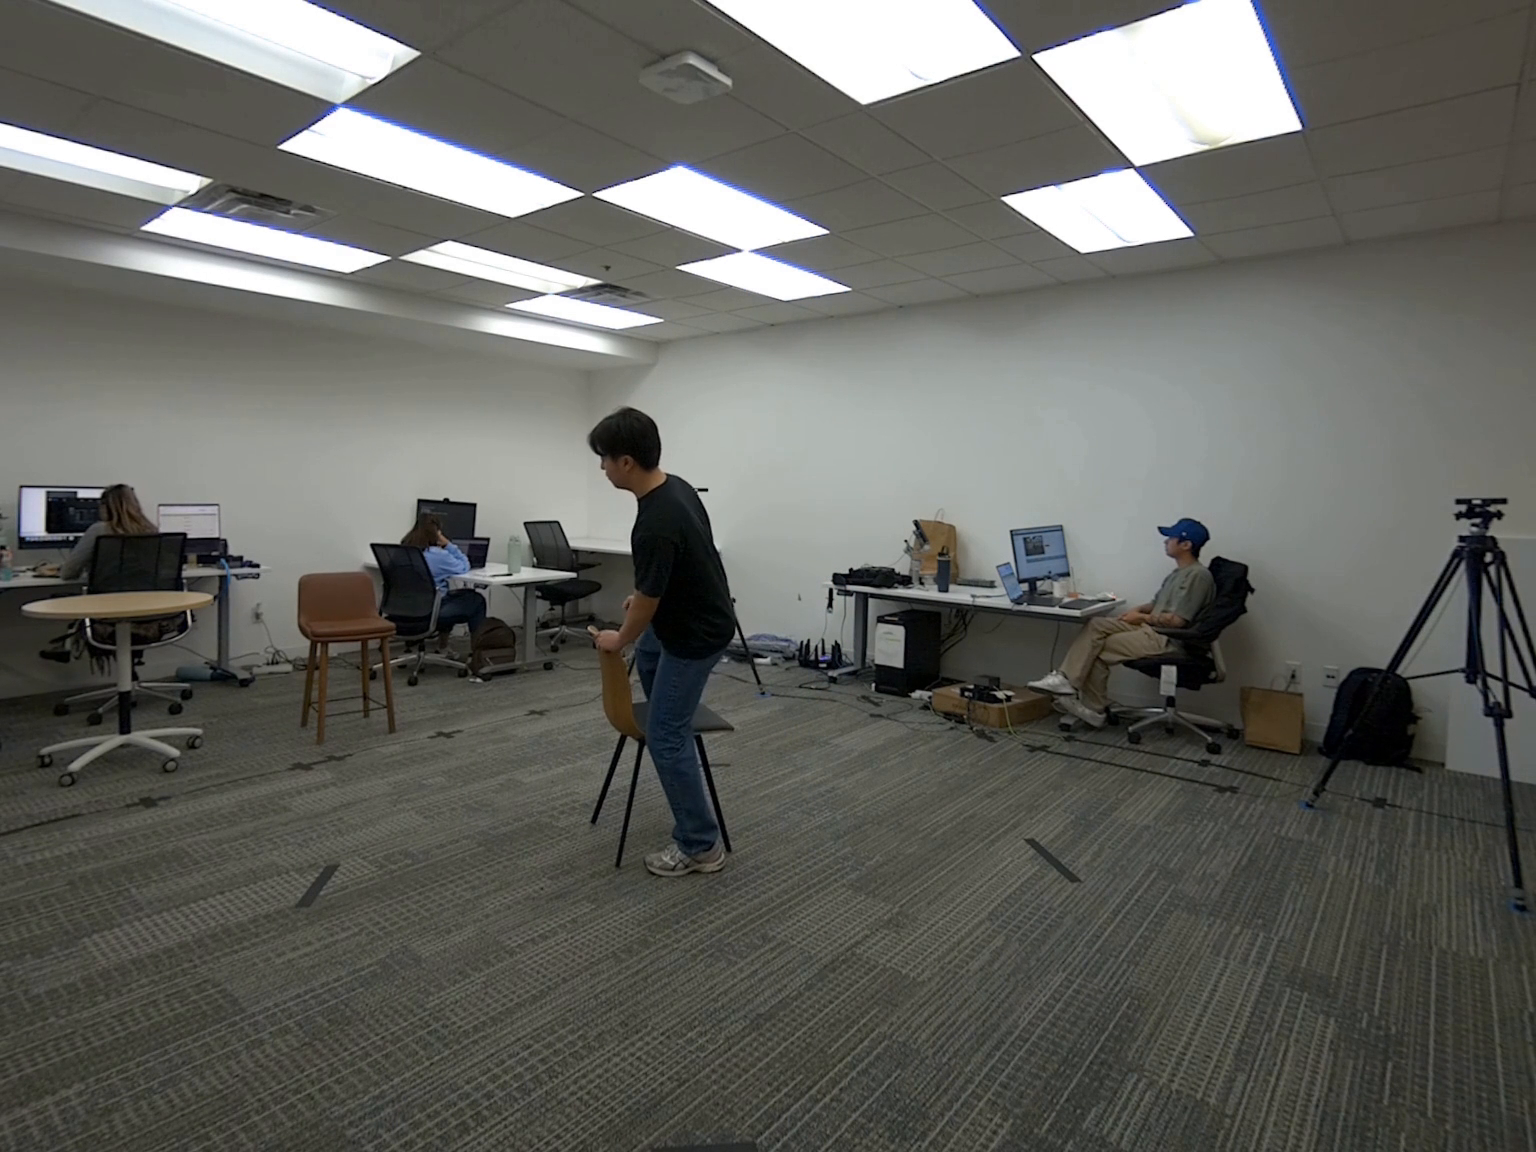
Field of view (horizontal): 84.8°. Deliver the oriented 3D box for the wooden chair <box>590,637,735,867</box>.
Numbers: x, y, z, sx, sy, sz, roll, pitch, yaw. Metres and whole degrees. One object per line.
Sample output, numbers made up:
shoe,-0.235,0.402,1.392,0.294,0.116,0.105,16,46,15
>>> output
wooden chair,-0.436,0.614,3.373,0.513,0.874,0.490,-5,5,-22
